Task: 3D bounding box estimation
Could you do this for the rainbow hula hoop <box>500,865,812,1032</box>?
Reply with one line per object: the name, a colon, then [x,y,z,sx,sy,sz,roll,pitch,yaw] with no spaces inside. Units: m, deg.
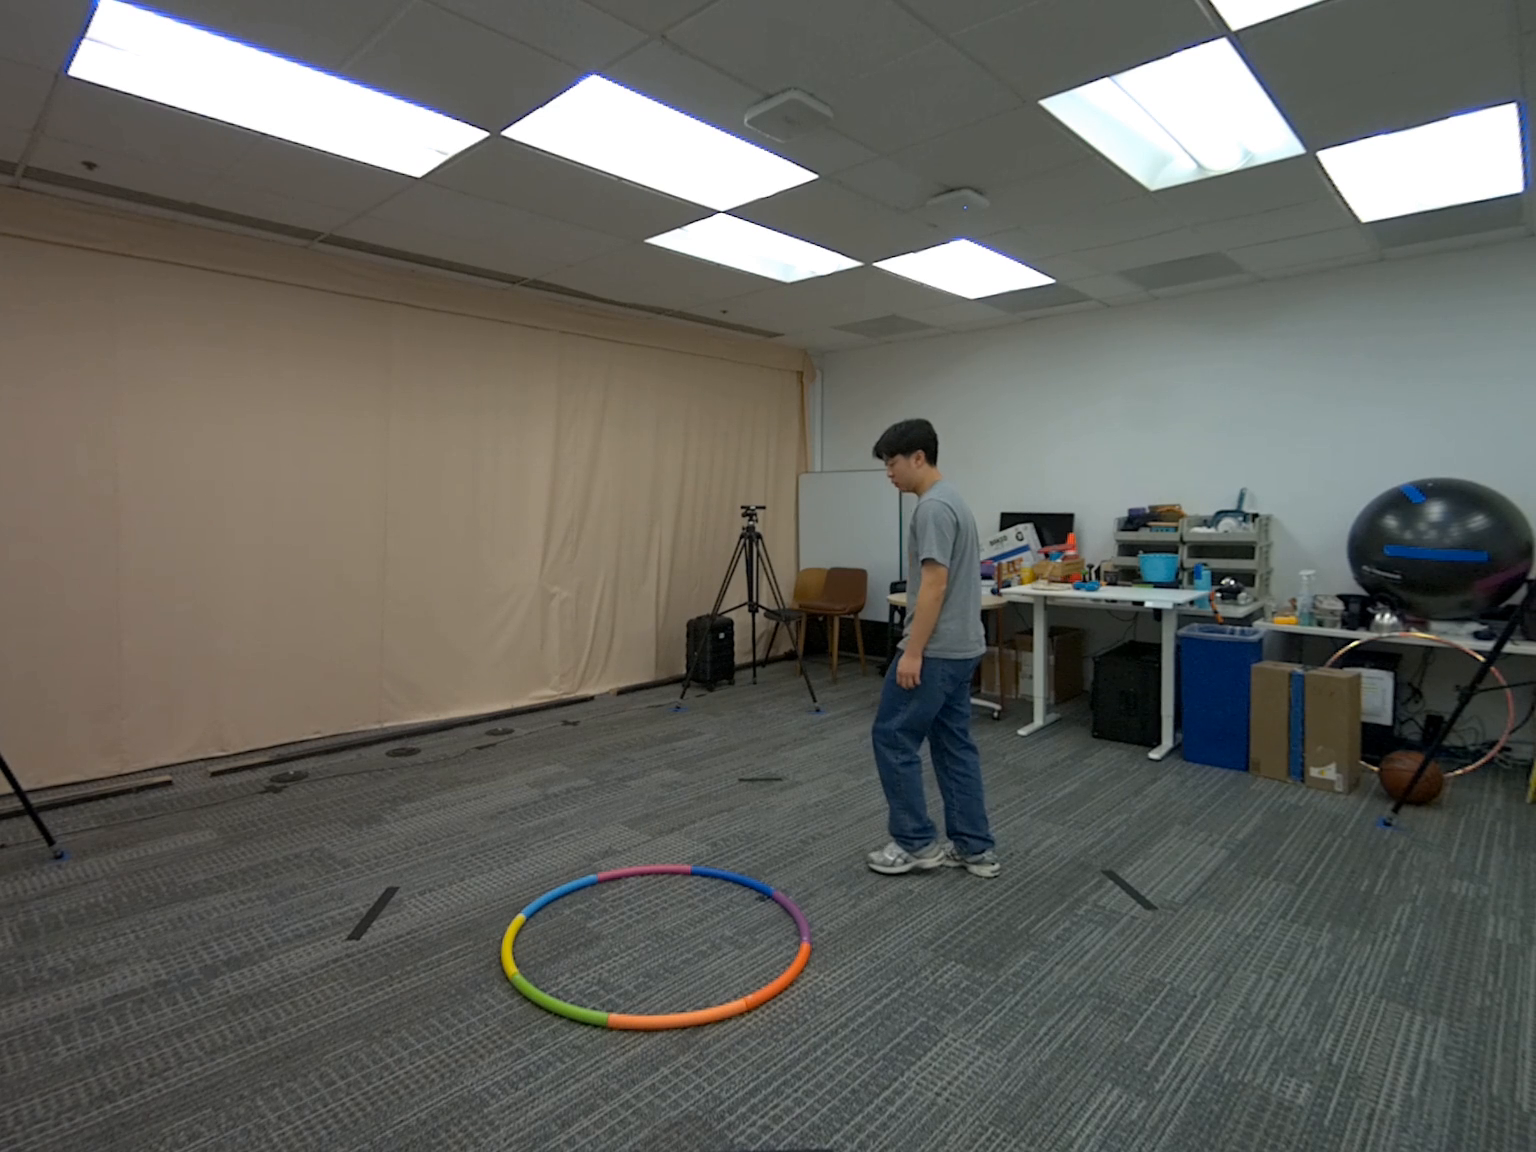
rainbow hula hoop: [-0.352,1.139,2.723,0.978,0.035,0.982,-1,4,-2]
